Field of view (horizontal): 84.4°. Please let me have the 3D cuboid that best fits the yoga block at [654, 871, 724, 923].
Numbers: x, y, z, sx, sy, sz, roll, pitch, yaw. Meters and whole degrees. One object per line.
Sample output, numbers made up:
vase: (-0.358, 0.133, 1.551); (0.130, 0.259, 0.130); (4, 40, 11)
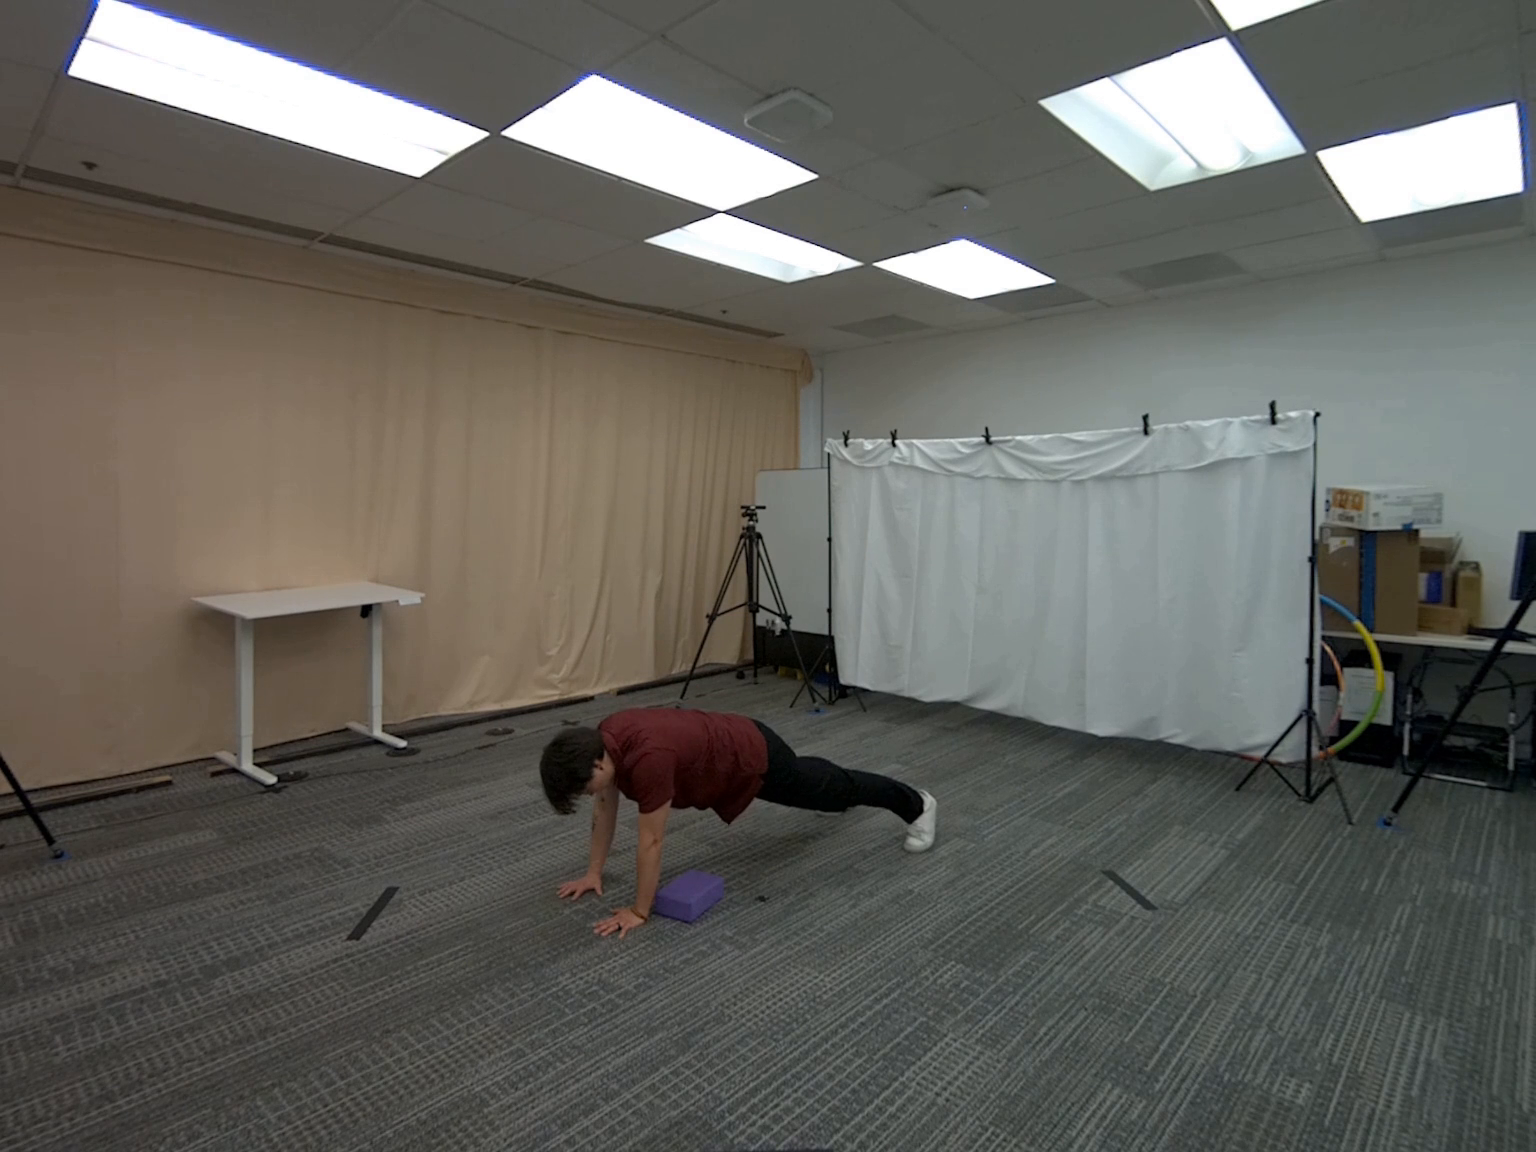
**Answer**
yoga block: (-0.269, 1.107, 2.931); (0.153, 0.076, 0.223); (3, 7, 29)
